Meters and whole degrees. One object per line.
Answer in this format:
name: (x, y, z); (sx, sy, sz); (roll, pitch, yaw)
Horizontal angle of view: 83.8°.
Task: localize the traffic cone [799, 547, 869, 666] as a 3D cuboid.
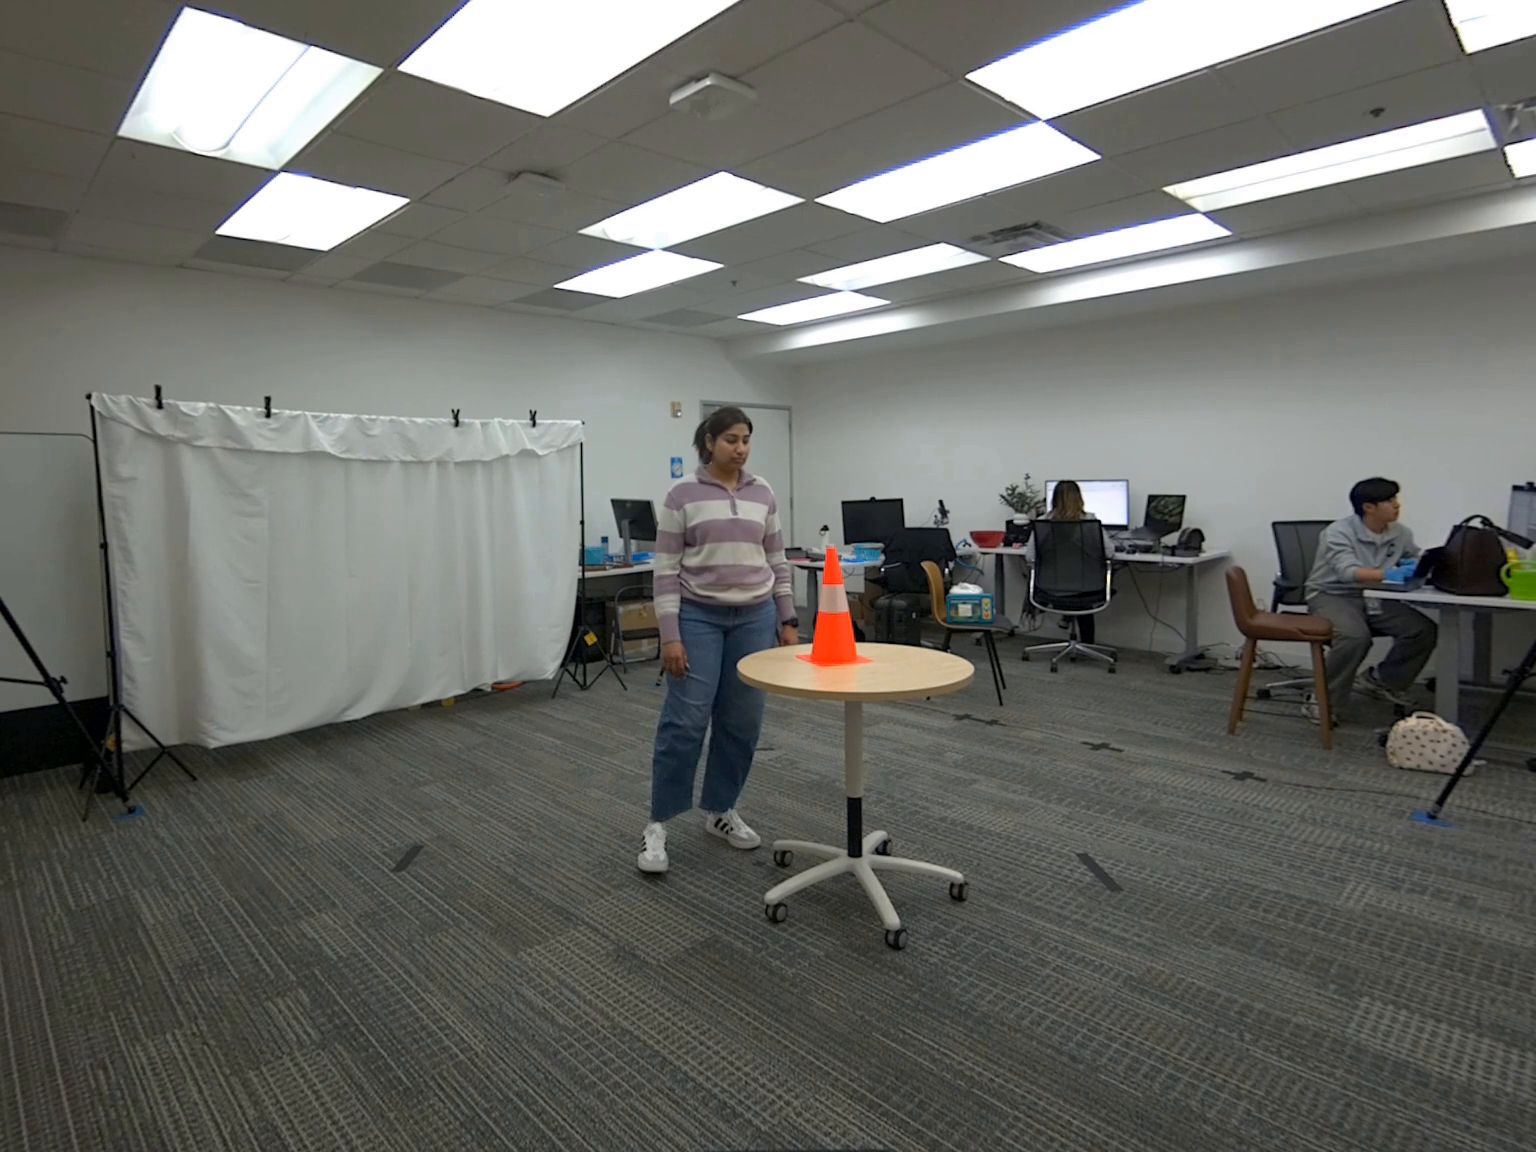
traffic cone: (0.228, 0.096, 2.881); (0.199, 0.382, 0.211); (-5, 7, -31)
